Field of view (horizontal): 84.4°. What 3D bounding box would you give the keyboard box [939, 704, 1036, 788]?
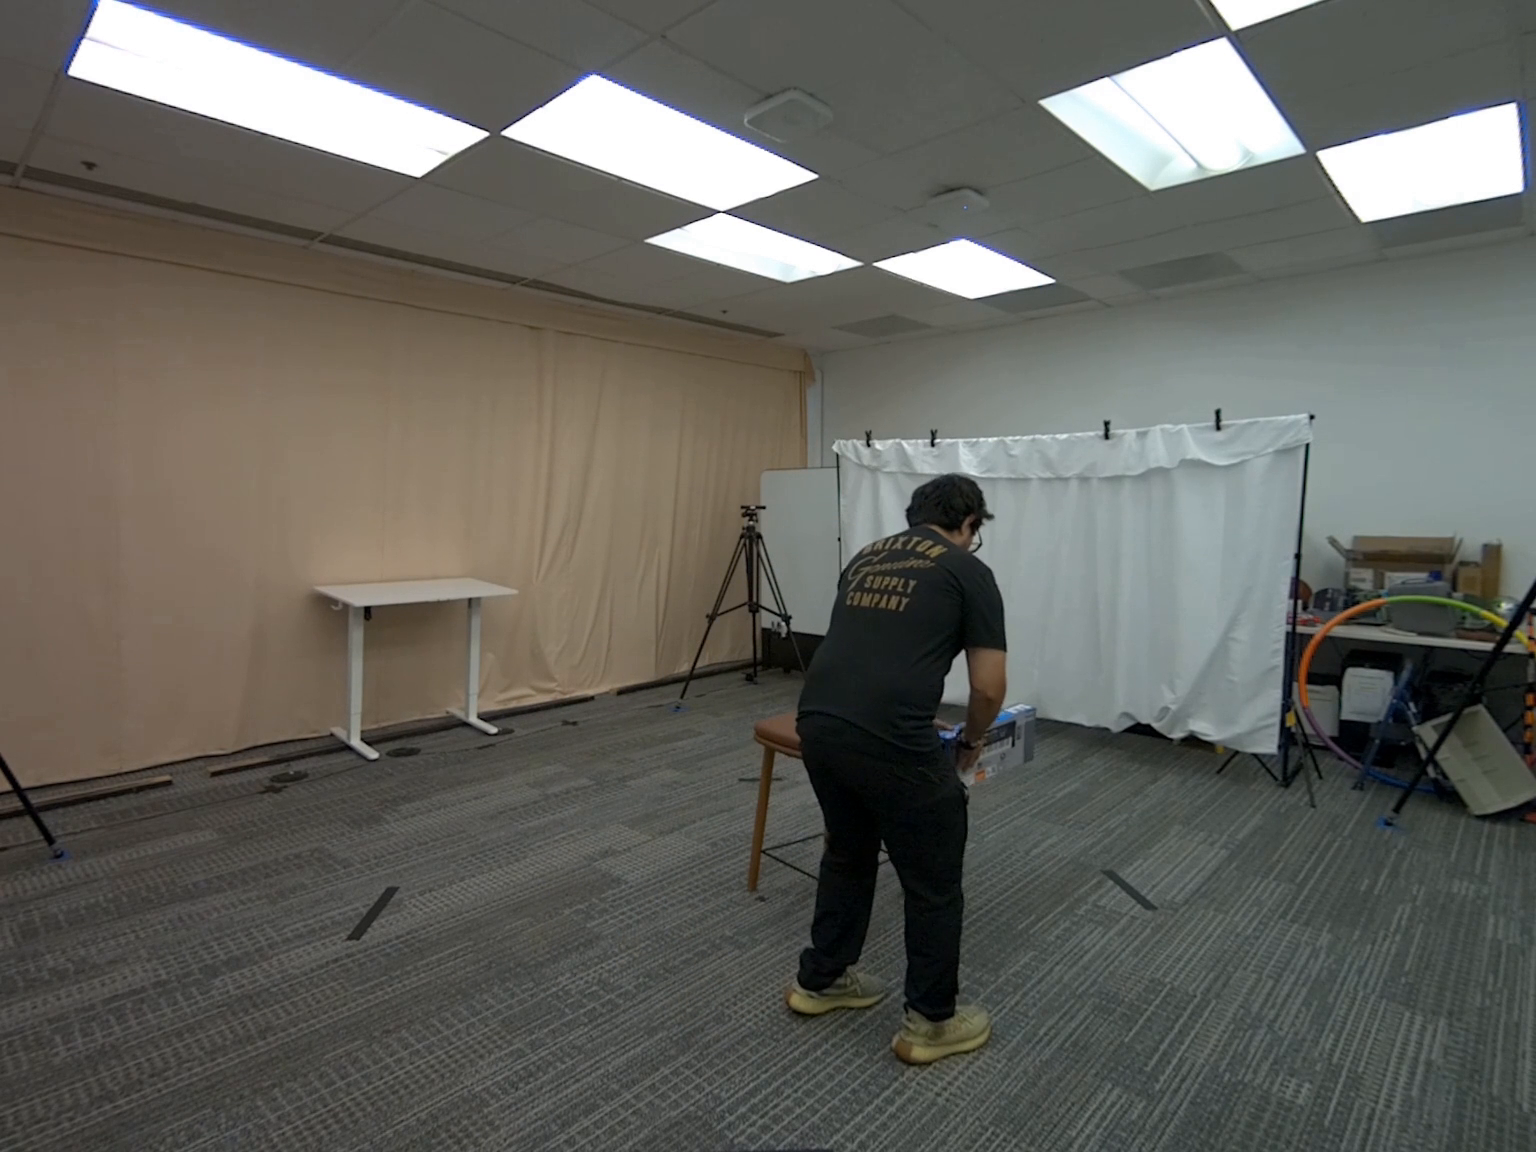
[{"bbox_3d":[0.650,0.515,2.498,0.425,0.175,0.061,-7,10,-36],"label":"keyboard box"}]
